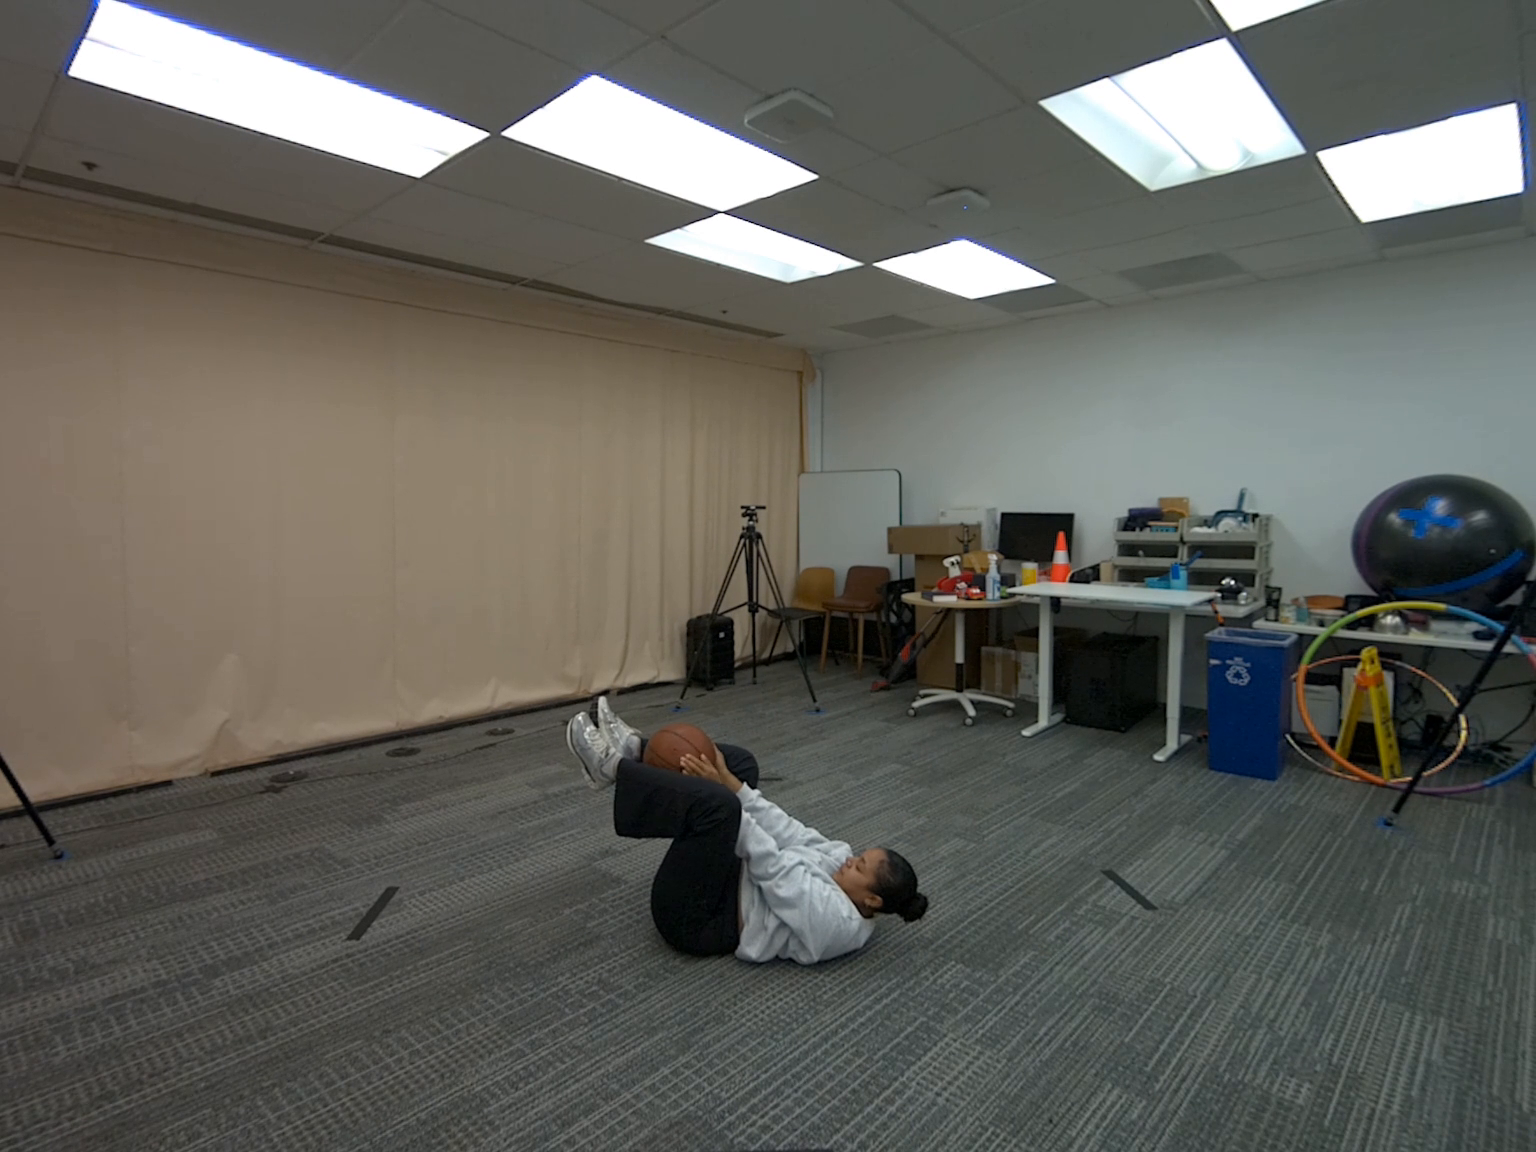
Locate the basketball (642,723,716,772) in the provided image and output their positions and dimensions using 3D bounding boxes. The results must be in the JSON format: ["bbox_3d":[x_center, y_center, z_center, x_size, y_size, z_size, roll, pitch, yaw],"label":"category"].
[{"bbox_3d":[-0.287,0.604,2.743,0.235,0.235,0.237,1,4,-2],"label":"basketball"}]
